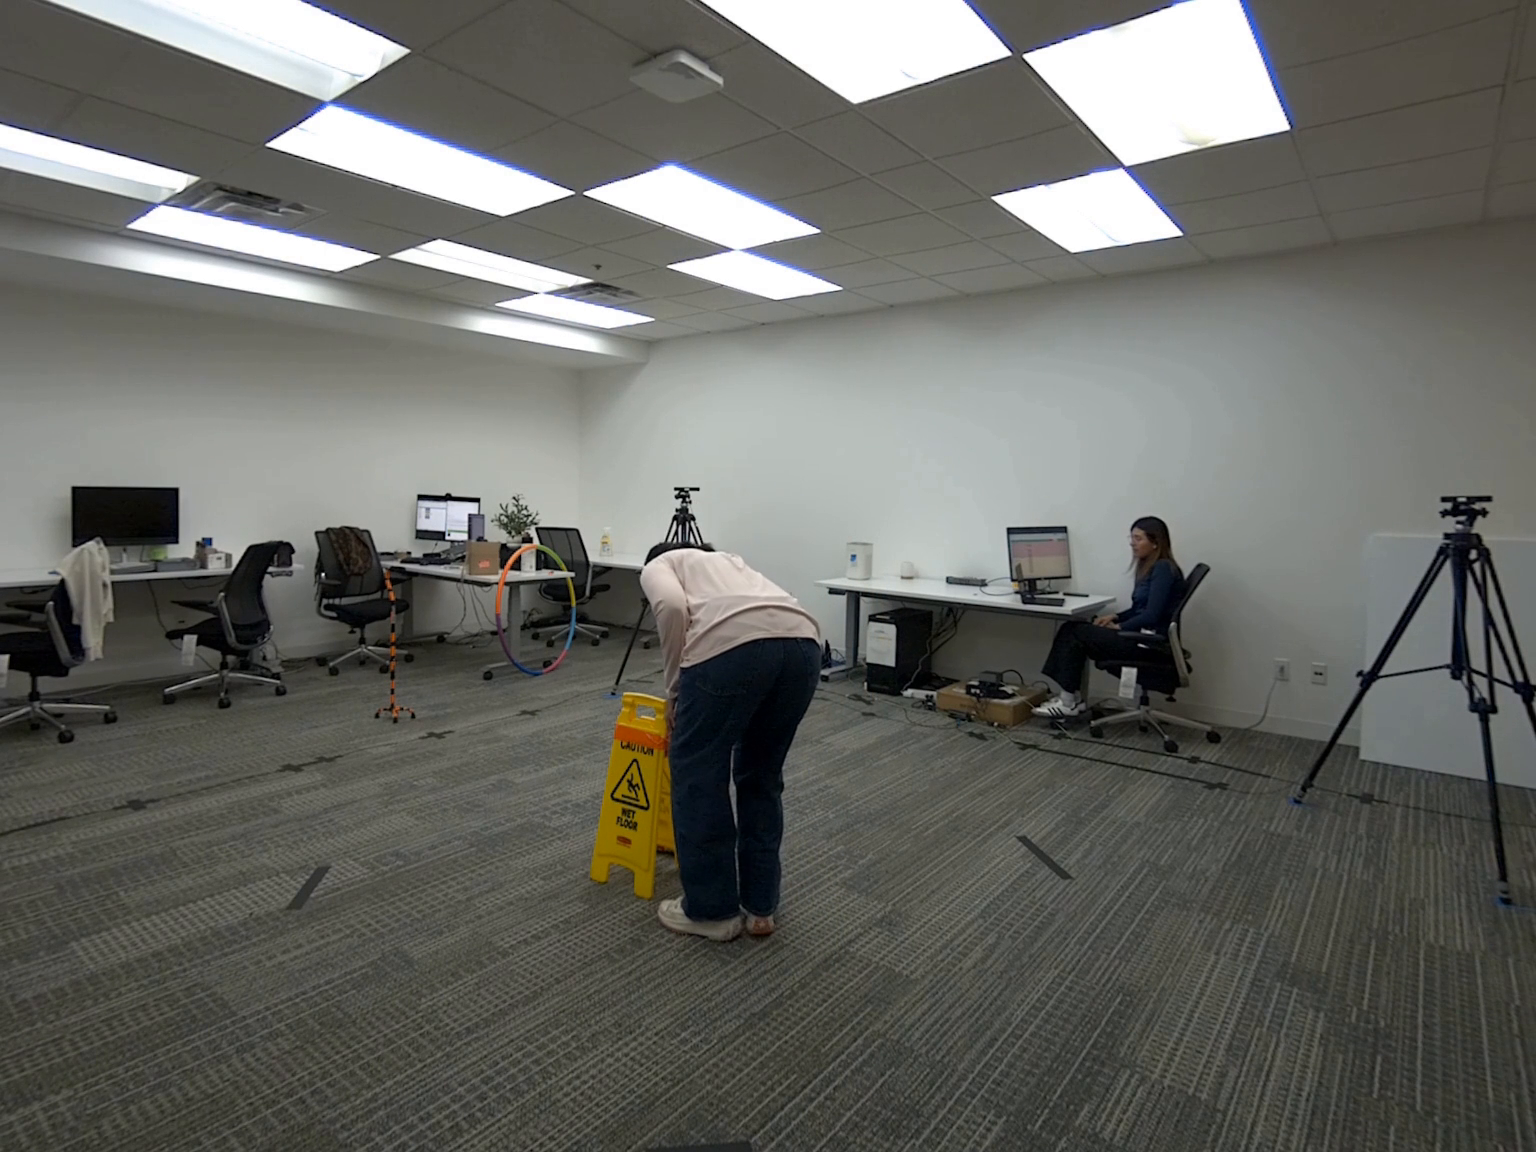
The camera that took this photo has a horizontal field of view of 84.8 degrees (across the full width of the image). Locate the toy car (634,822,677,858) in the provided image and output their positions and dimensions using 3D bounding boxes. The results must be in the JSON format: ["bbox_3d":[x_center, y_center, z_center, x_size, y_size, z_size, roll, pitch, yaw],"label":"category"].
[{"bbox_3d":[-0.370,1.016,3.255,0.258,0.083,0.128,-9,-1,15],"label":"toy car"}]
